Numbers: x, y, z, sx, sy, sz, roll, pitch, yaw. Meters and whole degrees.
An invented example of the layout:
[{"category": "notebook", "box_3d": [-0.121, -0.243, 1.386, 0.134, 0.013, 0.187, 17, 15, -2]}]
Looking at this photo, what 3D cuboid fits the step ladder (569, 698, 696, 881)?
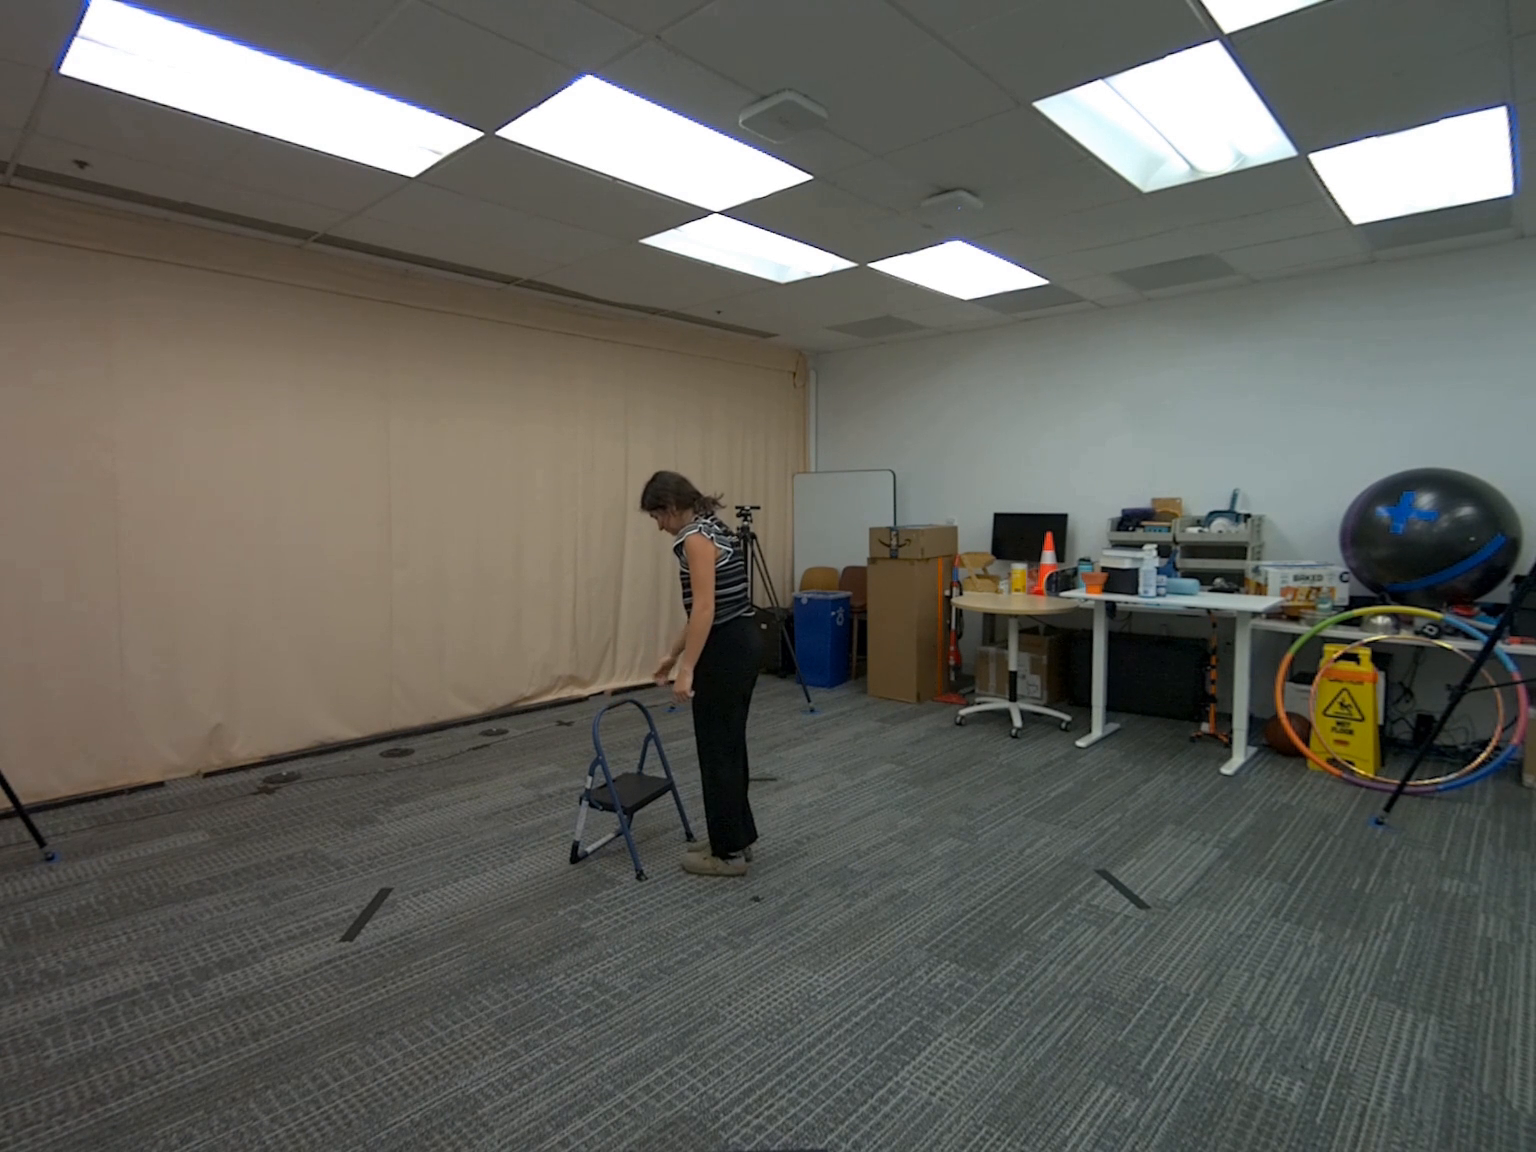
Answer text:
[{"category": "step ladder", "box_3d": [-0.543, 0.815, 3.388, 0.358, 0.605, 0.421, 1, 3, 25]}]
